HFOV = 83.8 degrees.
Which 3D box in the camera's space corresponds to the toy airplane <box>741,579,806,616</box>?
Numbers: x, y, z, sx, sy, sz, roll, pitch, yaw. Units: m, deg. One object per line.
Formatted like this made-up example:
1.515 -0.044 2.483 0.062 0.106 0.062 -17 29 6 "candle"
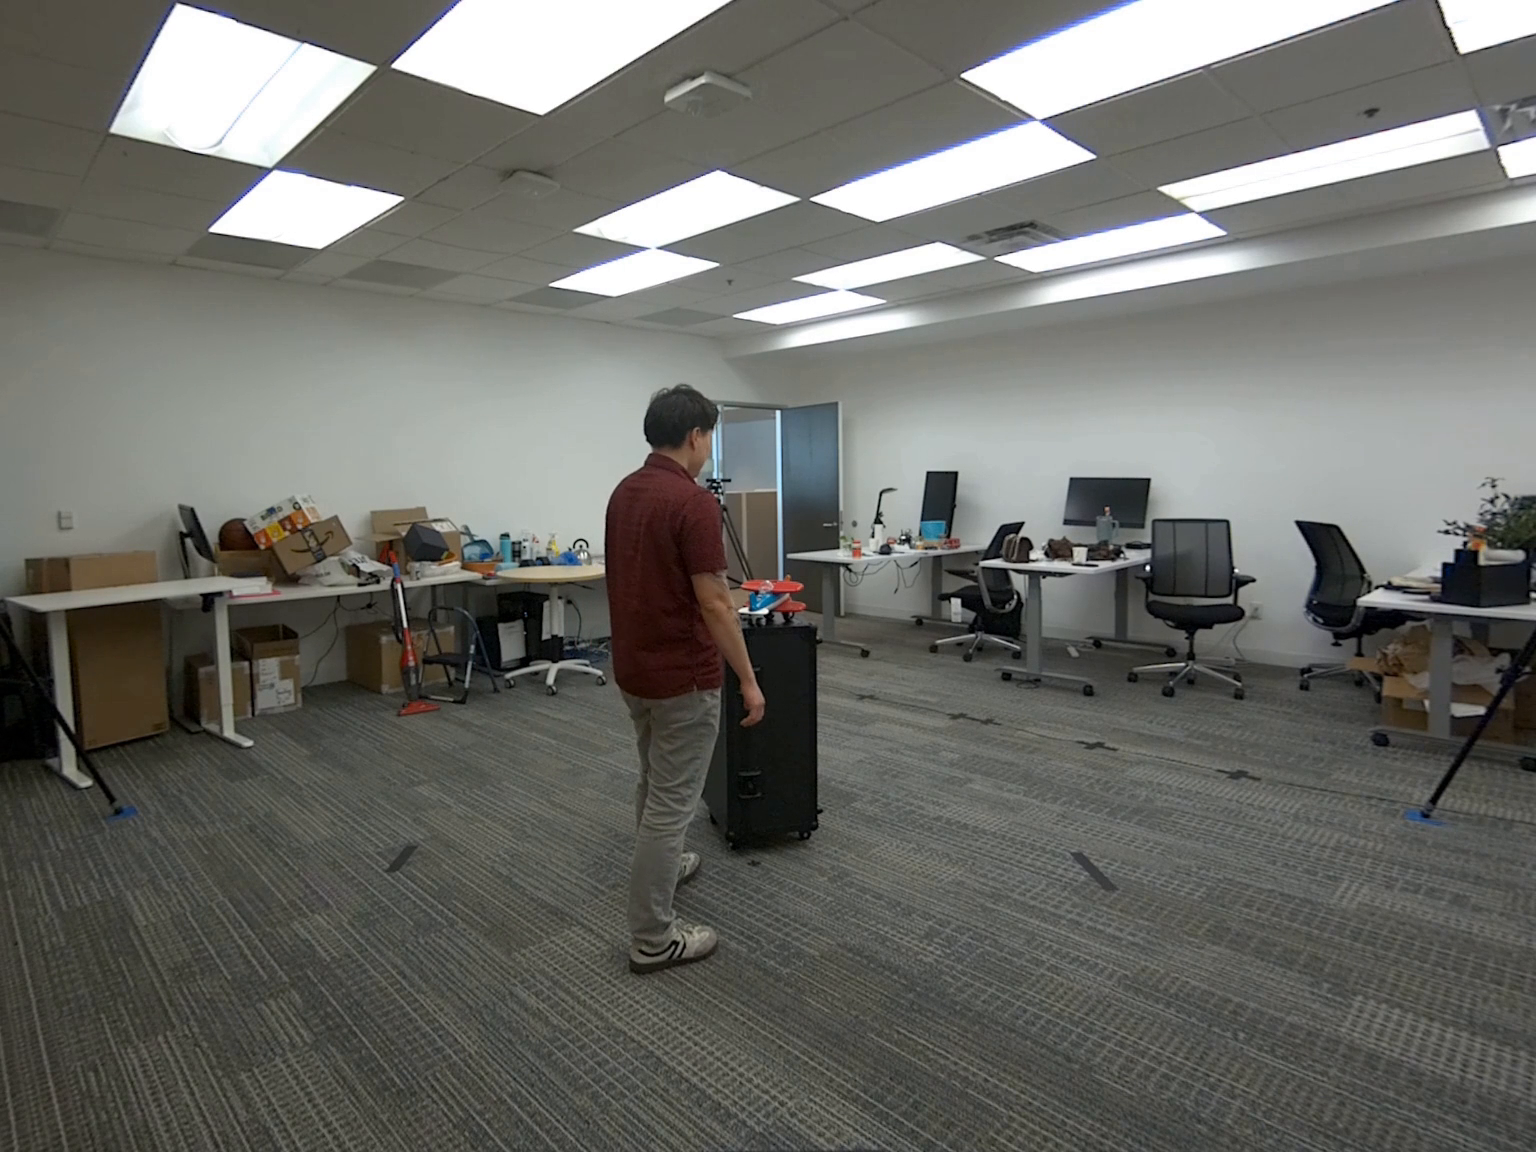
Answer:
0.021 0.100 3.209 0.252 0.156 0.259 -1 4 3 "toy airplane"
